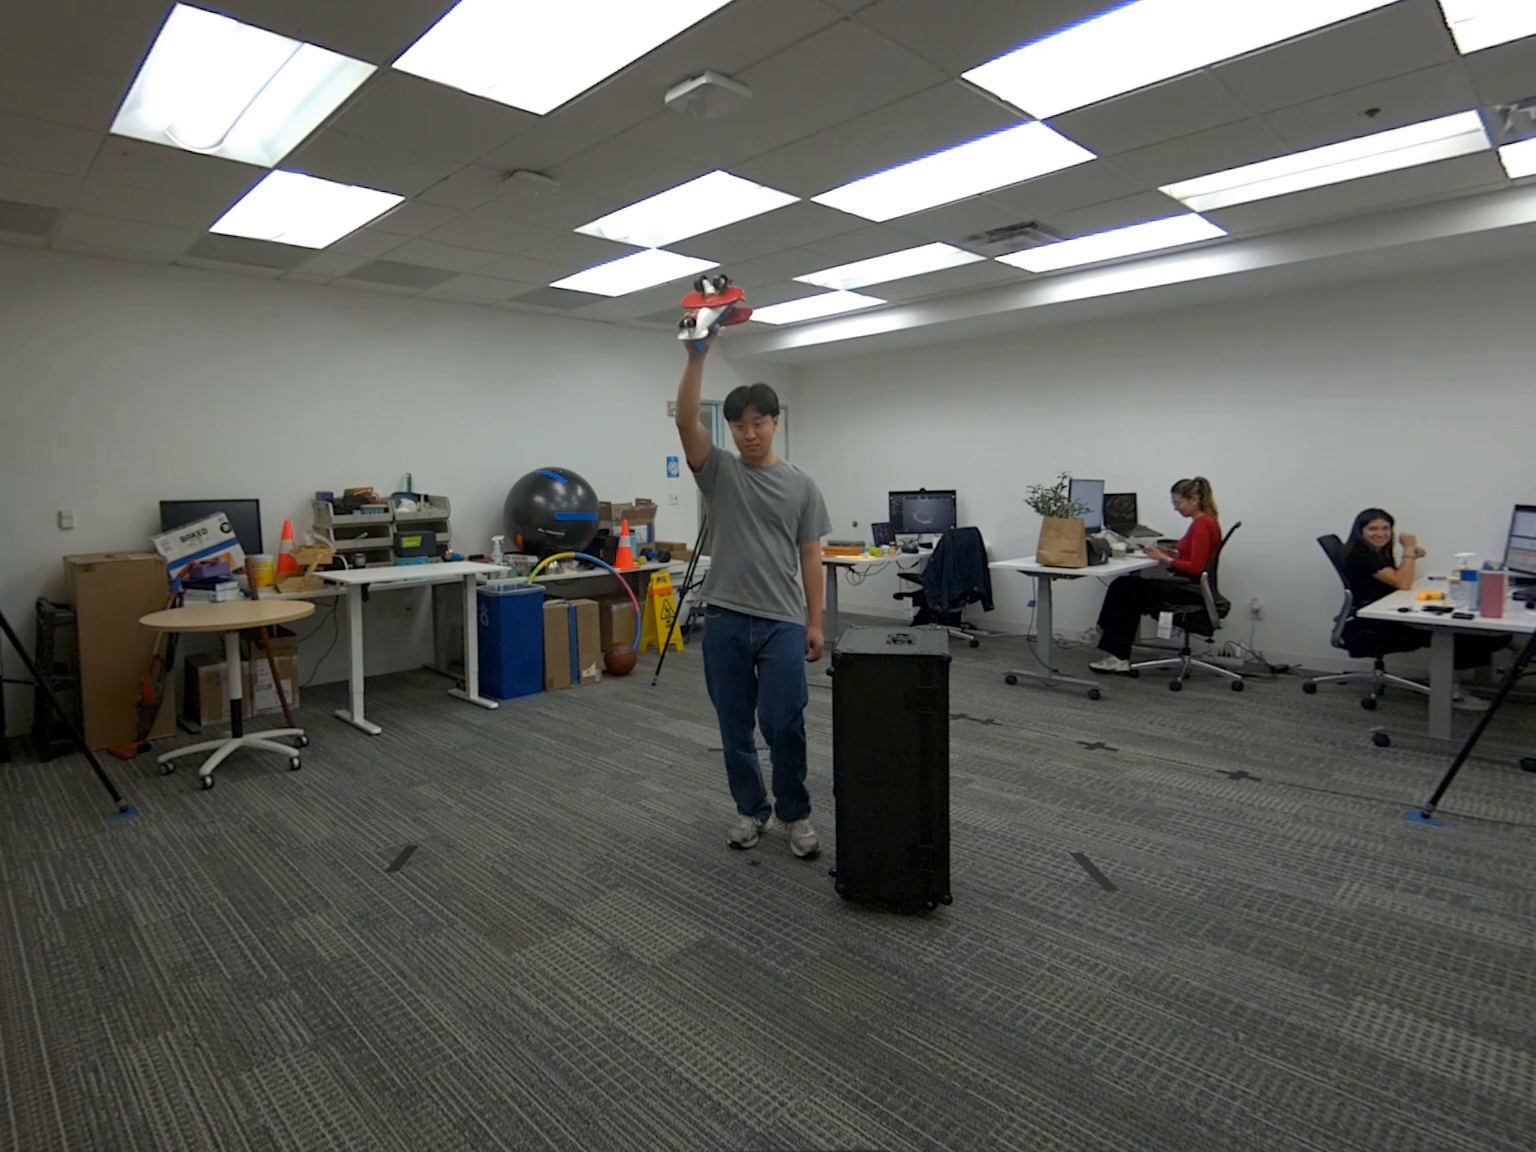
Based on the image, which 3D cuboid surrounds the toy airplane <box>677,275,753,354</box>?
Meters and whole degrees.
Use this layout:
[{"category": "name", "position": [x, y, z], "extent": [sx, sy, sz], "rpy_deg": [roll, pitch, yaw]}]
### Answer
[{"category": "toy airplane", "position": [-0.201, -0.866, 2.842], "extent": [0.150, 0.259, 0.261], "rpy_deg": [41, 4, -46]}]
